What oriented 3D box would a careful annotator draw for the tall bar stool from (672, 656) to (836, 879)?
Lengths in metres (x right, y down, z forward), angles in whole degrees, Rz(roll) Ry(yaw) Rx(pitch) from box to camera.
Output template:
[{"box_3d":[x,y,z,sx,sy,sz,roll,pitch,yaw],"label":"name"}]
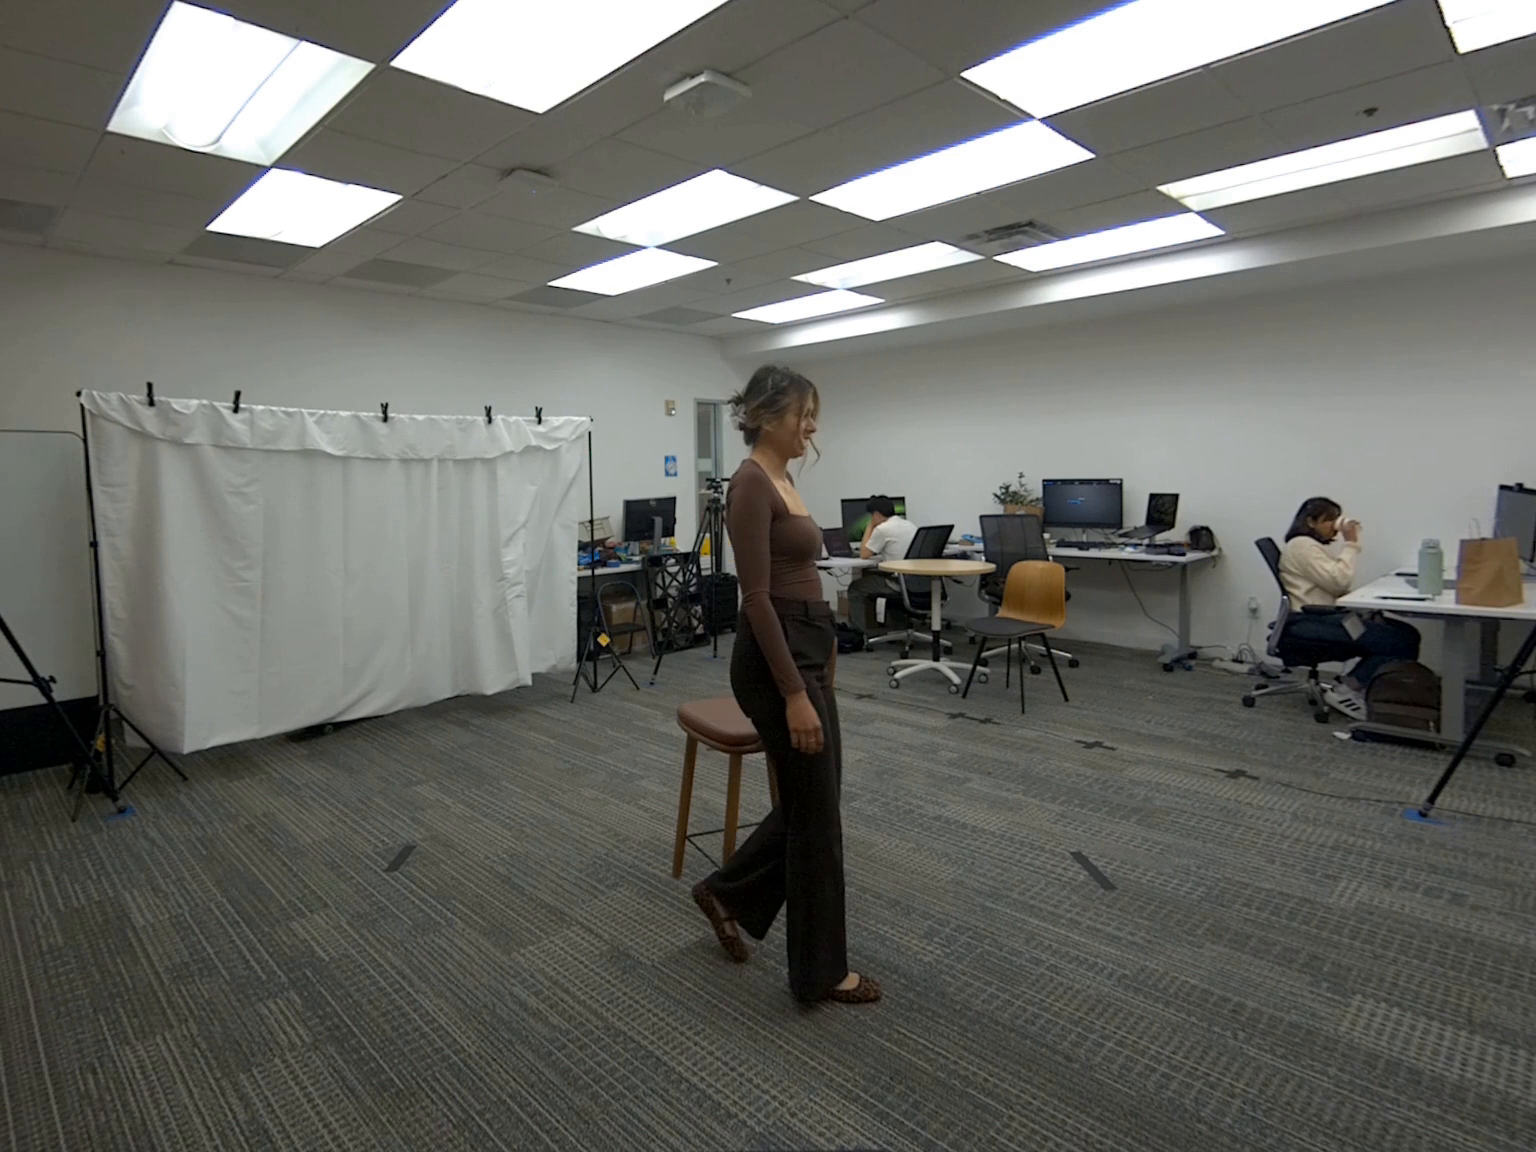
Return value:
[{"box_3d":[-0.047,0.631,2.915,0.457,0.887,0.469,-1,4,-29],"label":"tall bar stool"}]
